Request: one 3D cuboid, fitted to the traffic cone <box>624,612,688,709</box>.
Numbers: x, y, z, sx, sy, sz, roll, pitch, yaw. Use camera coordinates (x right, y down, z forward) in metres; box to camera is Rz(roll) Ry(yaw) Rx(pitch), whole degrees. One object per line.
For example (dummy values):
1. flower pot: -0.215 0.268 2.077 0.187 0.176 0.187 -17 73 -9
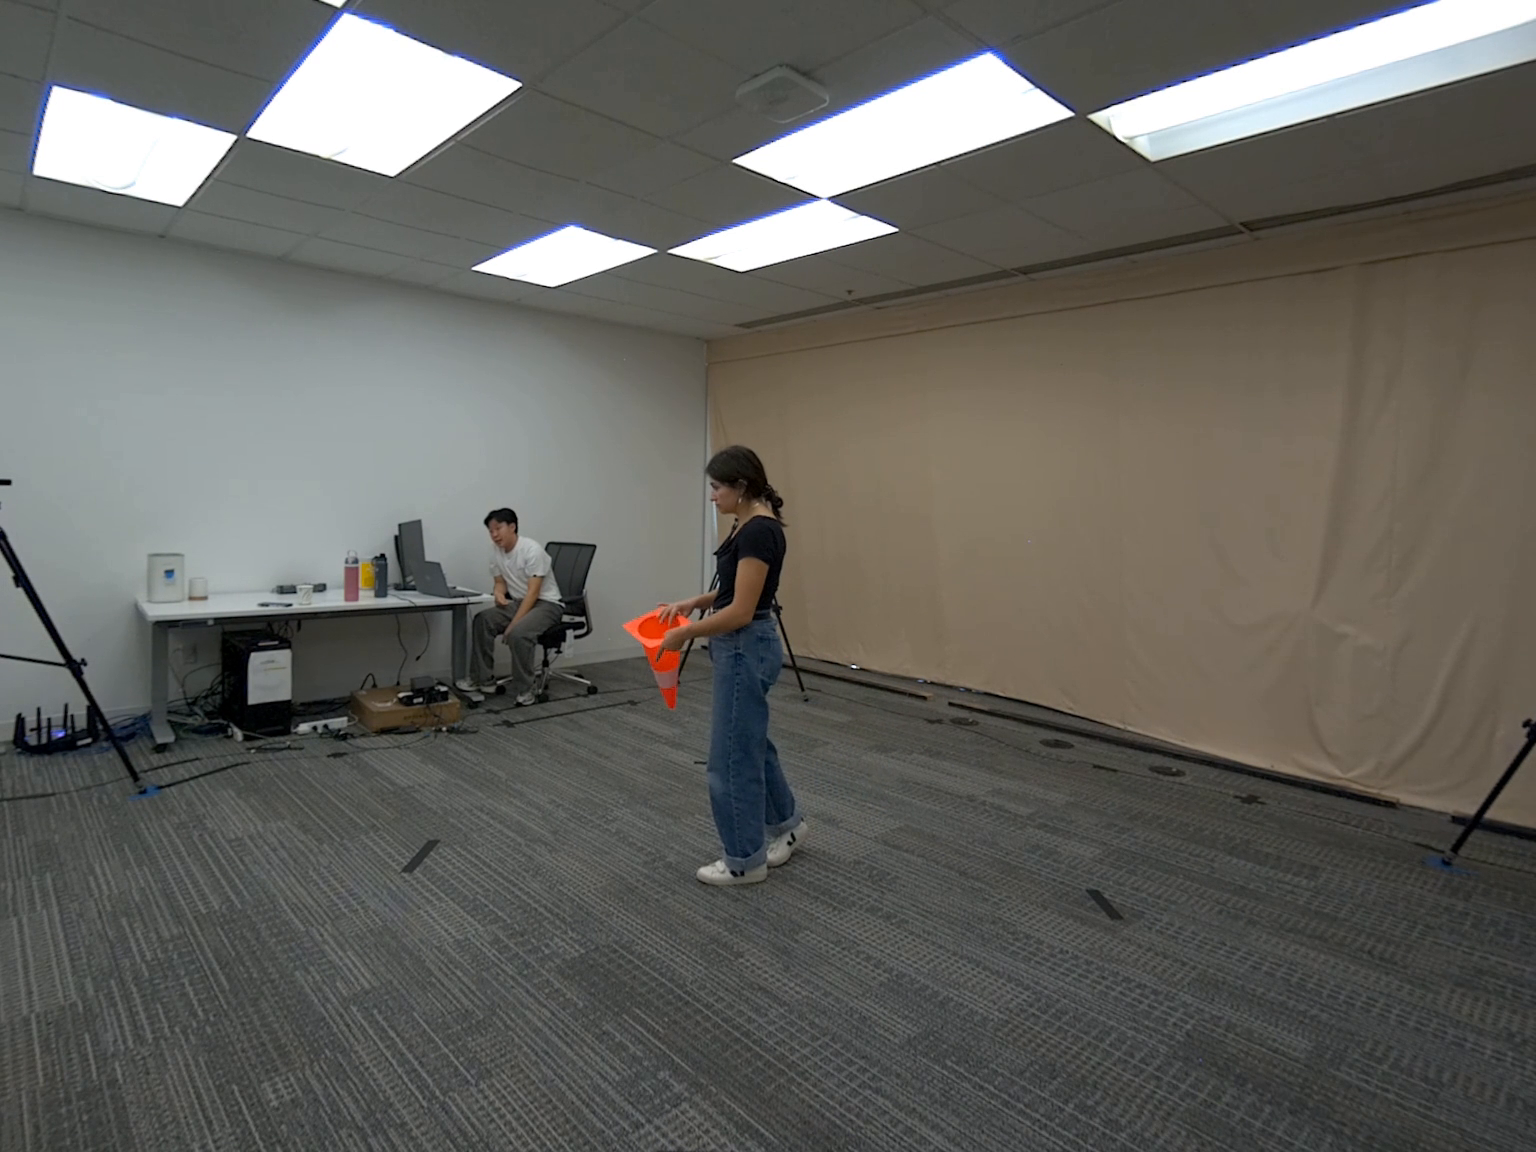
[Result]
1. traffic cone: -0.384 0.354 3.135 0.203 0.375 0.210 -25 38 -29
